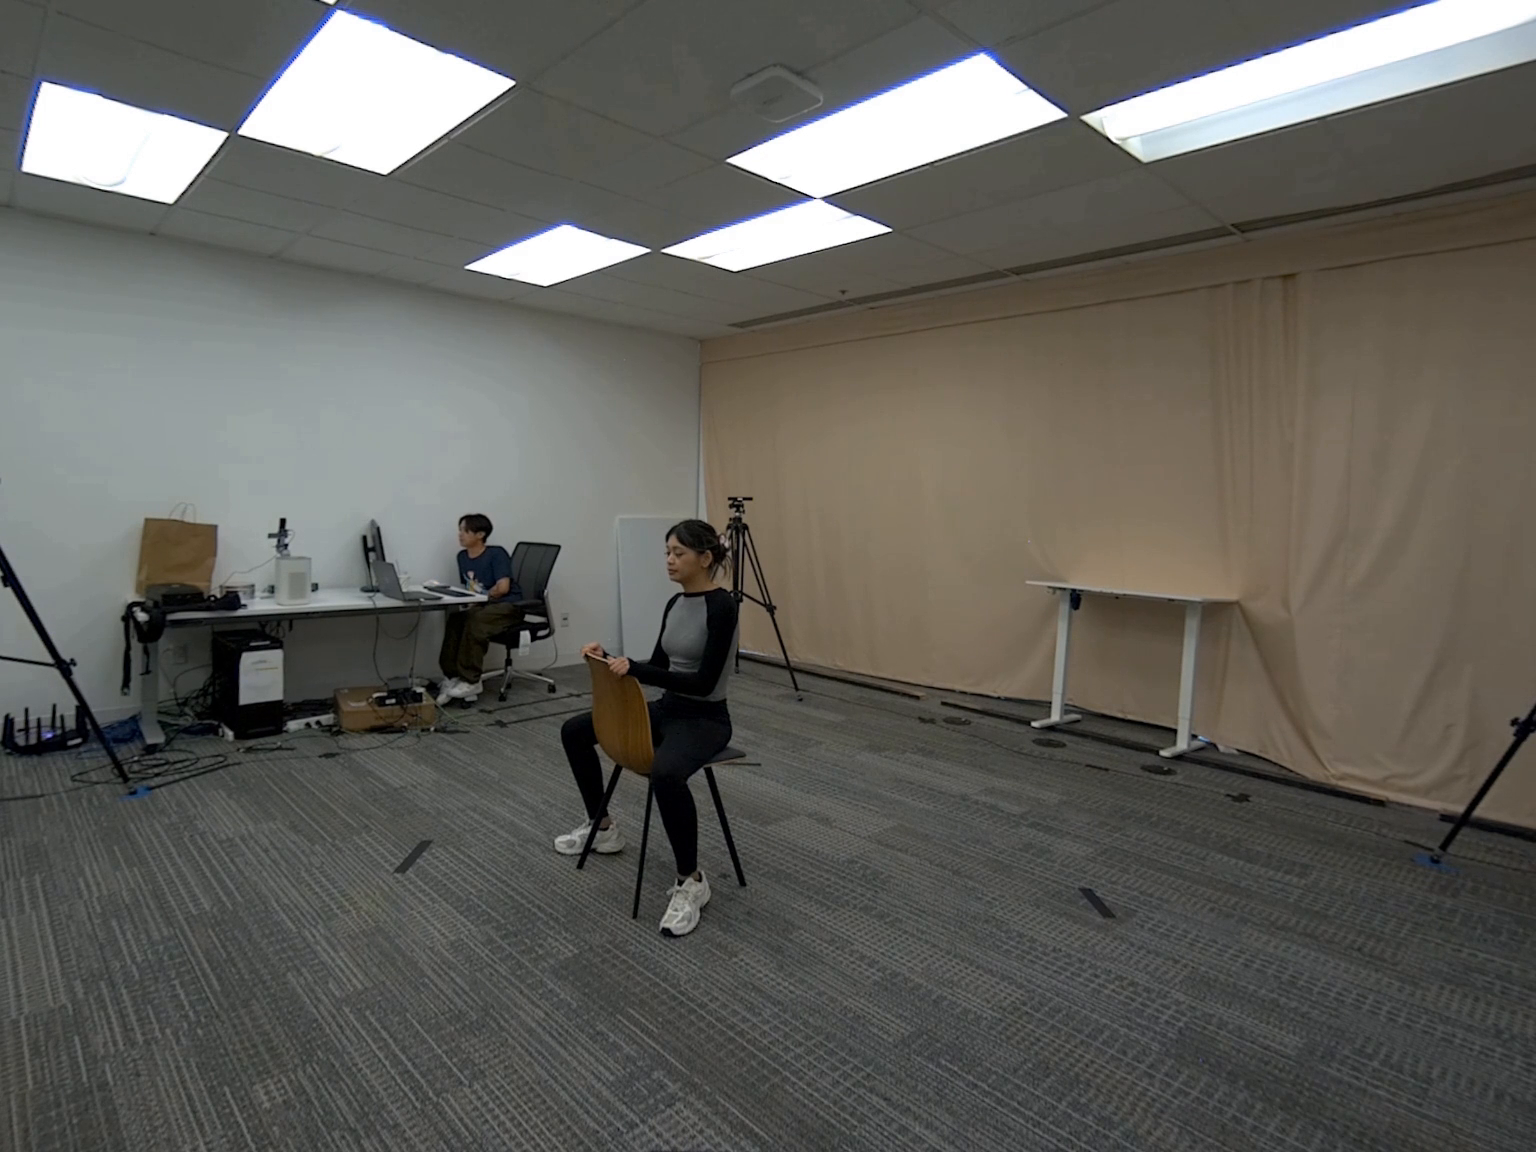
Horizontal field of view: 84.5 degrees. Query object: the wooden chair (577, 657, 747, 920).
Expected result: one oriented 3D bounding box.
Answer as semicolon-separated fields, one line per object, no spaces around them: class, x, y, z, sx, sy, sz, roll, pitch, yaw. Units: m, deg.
wooden chair;-0.381;0.680;3.060;0.513;0.873;0.490;-7;8;-35
